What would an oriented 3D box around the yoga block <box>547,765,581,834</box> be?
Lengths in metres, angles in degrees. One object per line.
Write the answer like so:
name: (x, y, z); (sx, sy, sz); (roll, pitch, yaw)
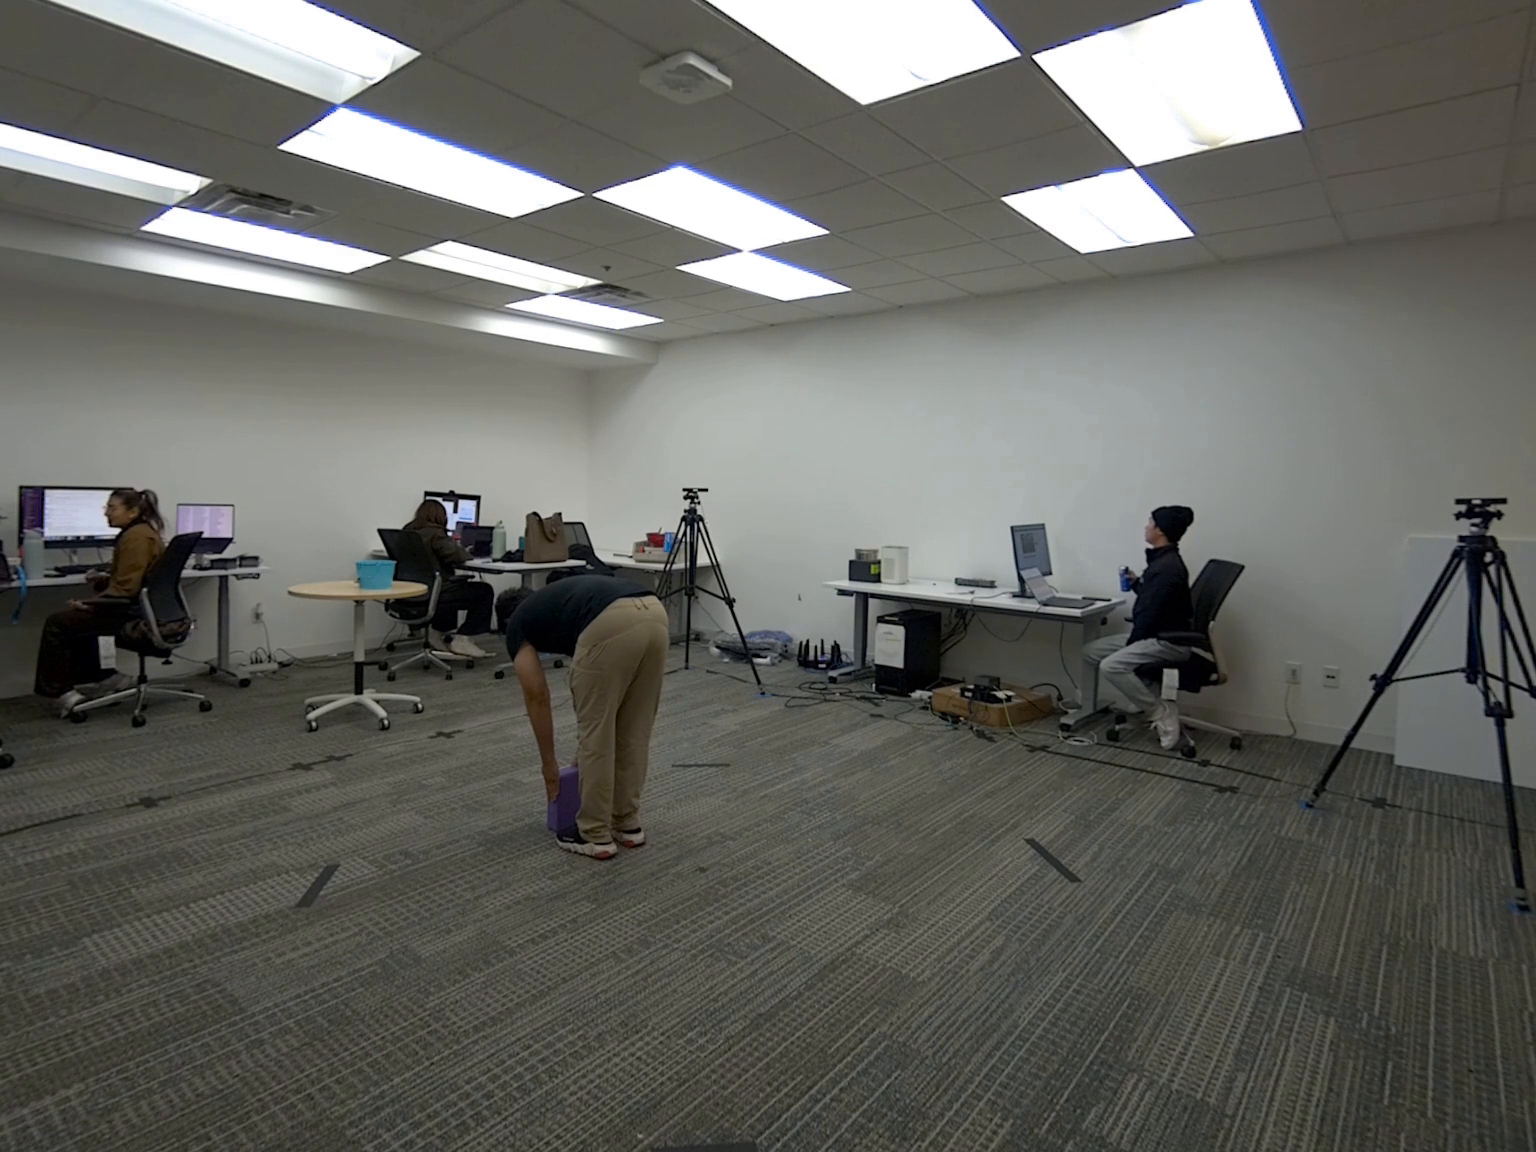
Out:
yoga block: (-0.841, 0.910, 3.488); (0.079, 0.229, 0.144); (2, 3, 41)
